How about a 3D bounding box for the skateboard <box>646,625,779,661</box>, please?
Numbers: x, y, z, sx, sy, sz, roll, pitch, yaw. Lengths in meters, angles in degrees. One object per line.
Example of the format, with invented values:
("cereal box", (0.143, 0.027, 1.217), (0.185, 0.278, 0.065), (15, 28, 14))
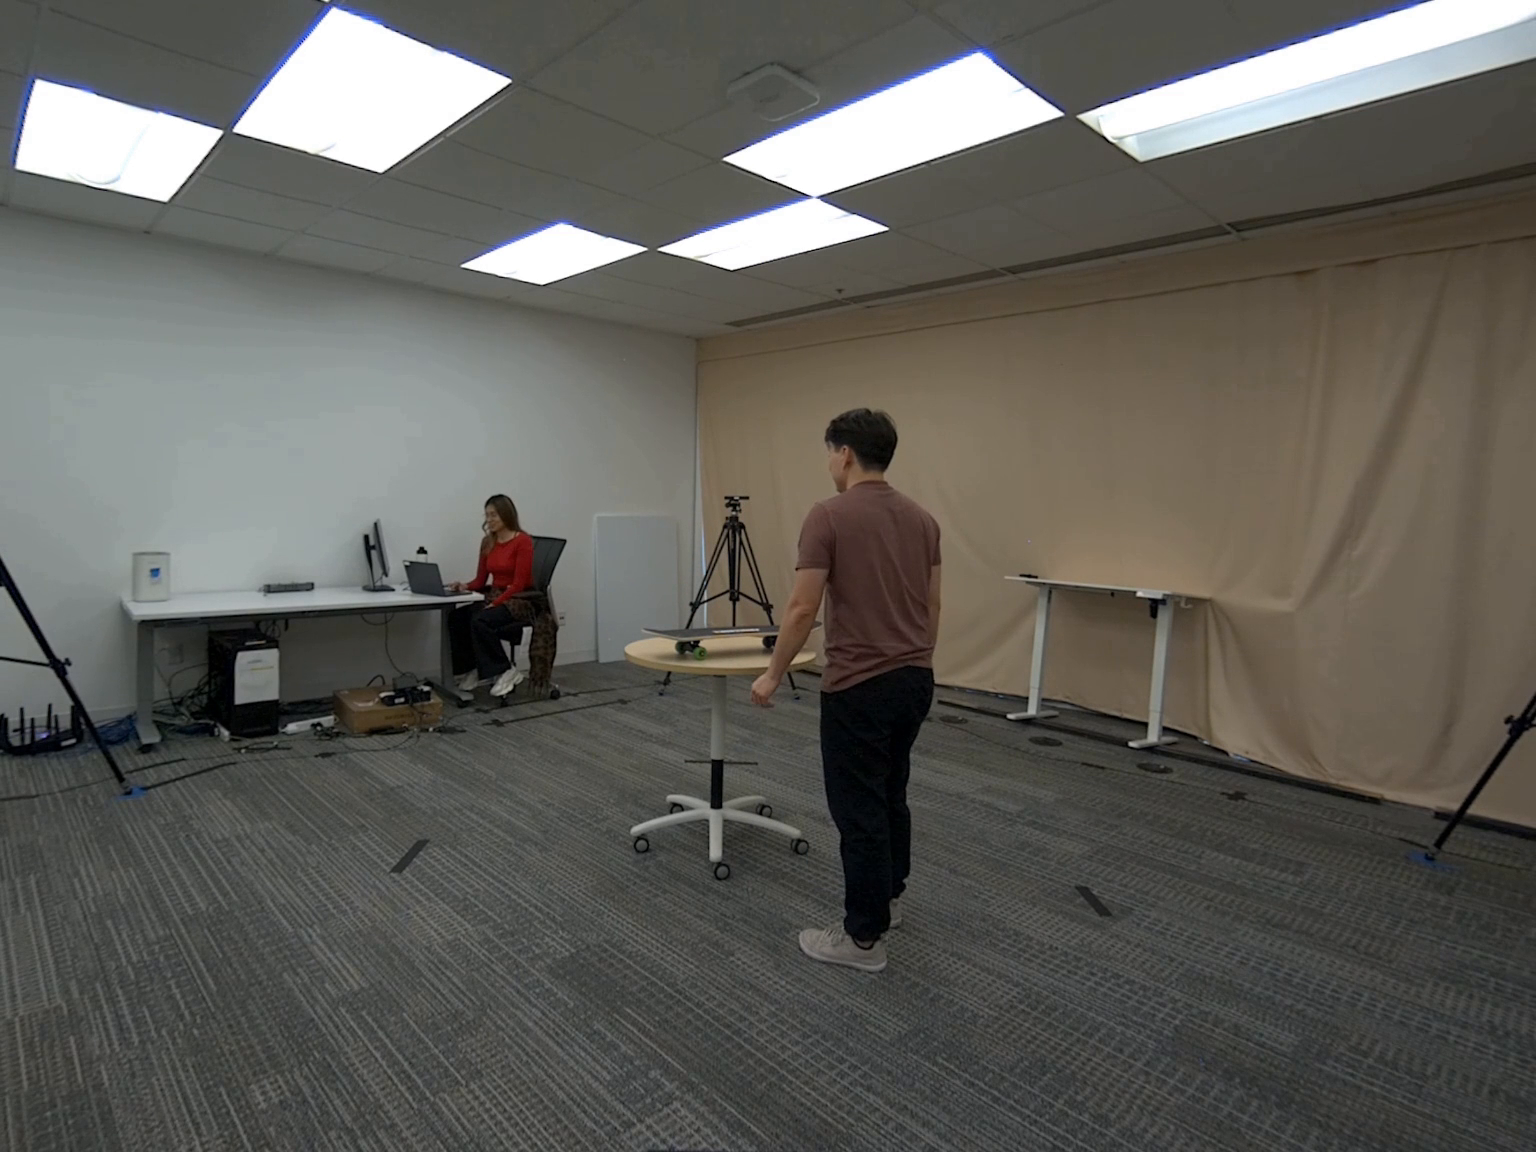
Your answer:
("skateboard", (-0.131, 0.257, 3.291), (0.770, 0.110, 0.198), (-1, 5, -28))
